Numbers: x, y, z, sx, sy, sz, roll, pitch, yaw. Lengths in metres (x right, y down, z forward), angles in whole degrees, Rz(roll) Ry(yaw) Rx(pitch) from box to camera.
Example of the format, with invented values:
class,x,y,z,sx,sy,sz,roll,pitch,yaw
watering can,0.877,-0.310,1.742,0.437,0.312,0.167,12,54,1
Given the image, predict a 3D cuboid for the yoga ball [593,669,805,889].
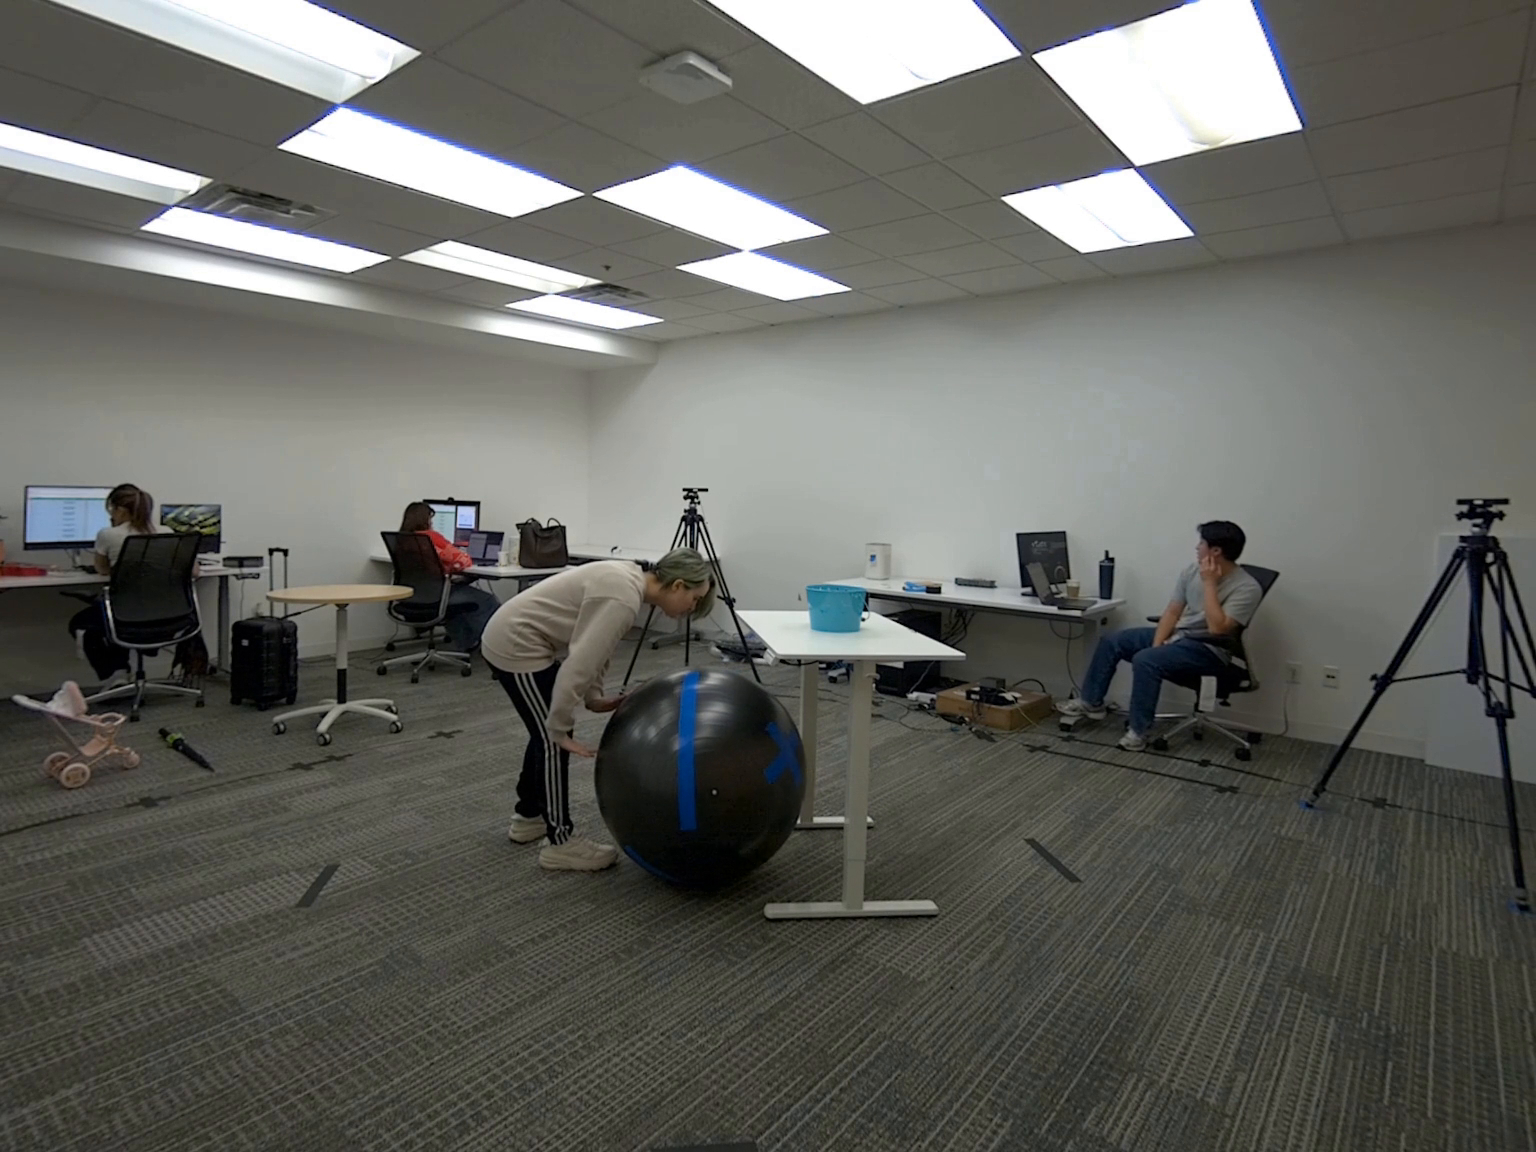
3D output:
class,x,y,z,sx,sy,sz,roll,pitch,yaw
yoga ball,-0.244,0.706,3.059,0.757,0.755,0.762,1,4,-2
